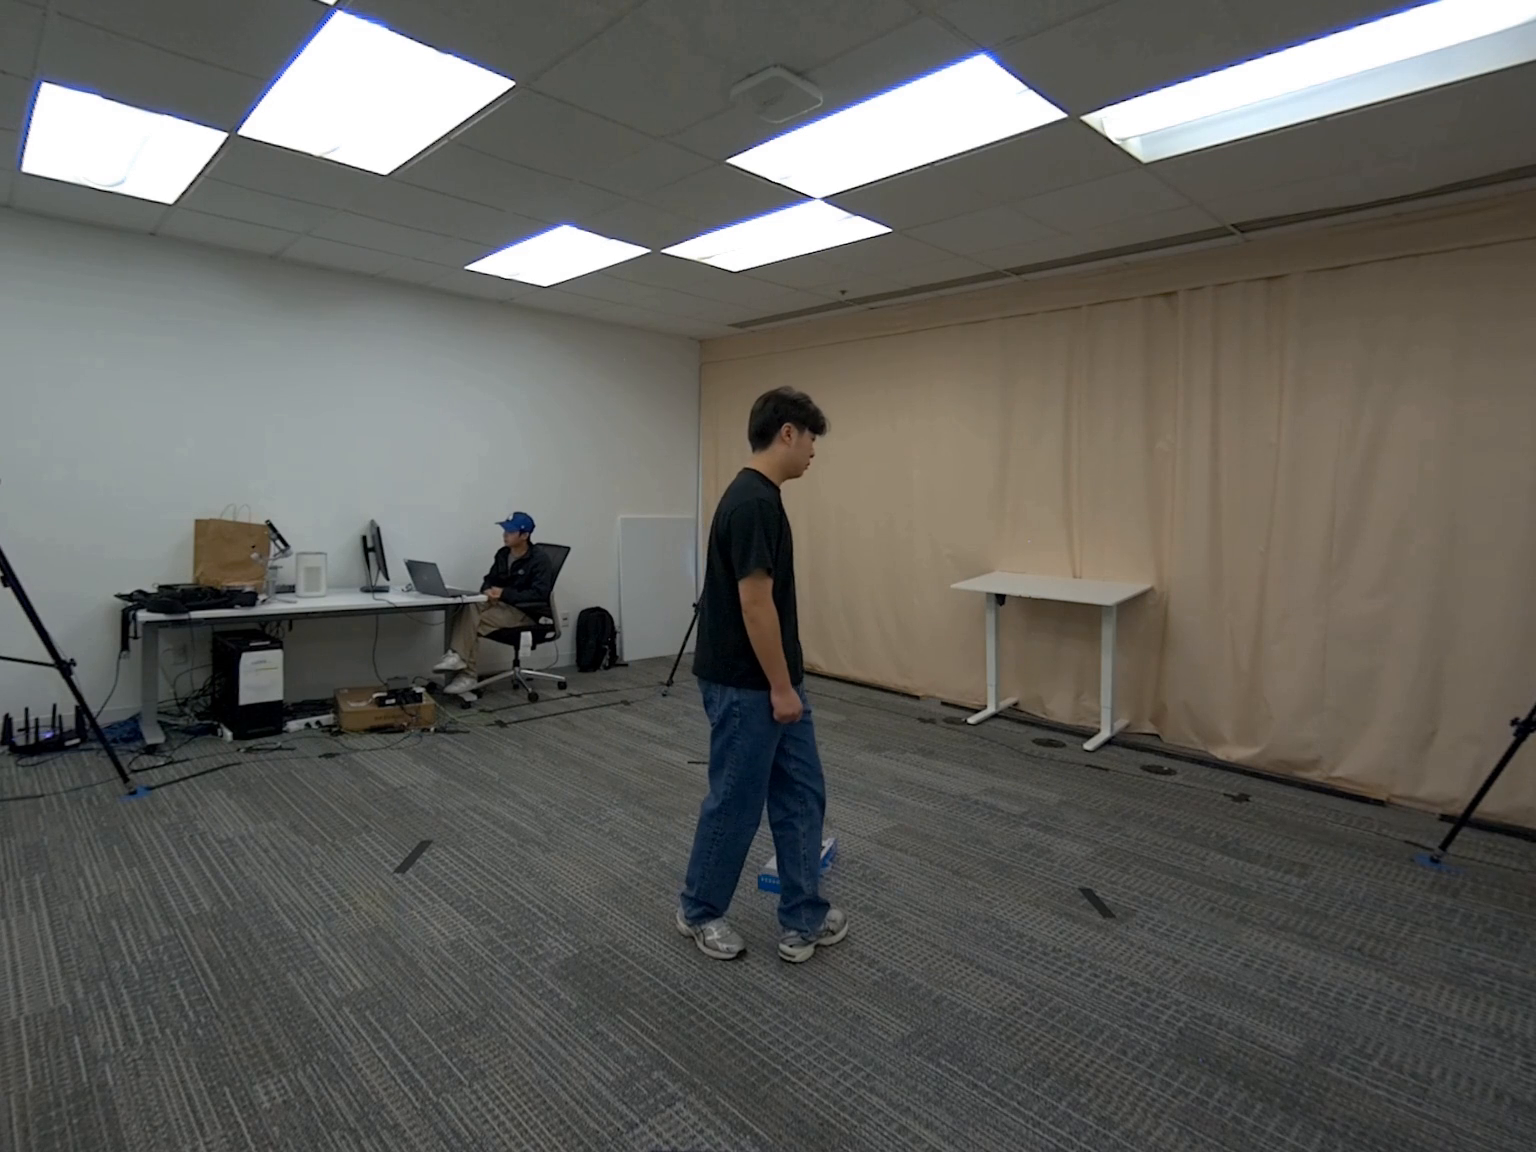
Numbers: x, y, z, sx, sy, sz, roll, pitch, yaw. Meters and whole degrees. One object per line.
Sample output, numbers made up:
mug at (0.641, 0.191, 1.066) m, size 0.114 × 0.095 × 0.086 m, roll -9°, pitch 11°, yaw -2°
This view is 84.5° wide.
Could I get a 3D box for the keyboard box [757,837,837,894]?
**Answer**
keyboard box at (0.114, 1.079, 3.172) m, size 0.179 × 0.059 × 0.430 m, roll 2°, pitch 5°, yaw 21°
